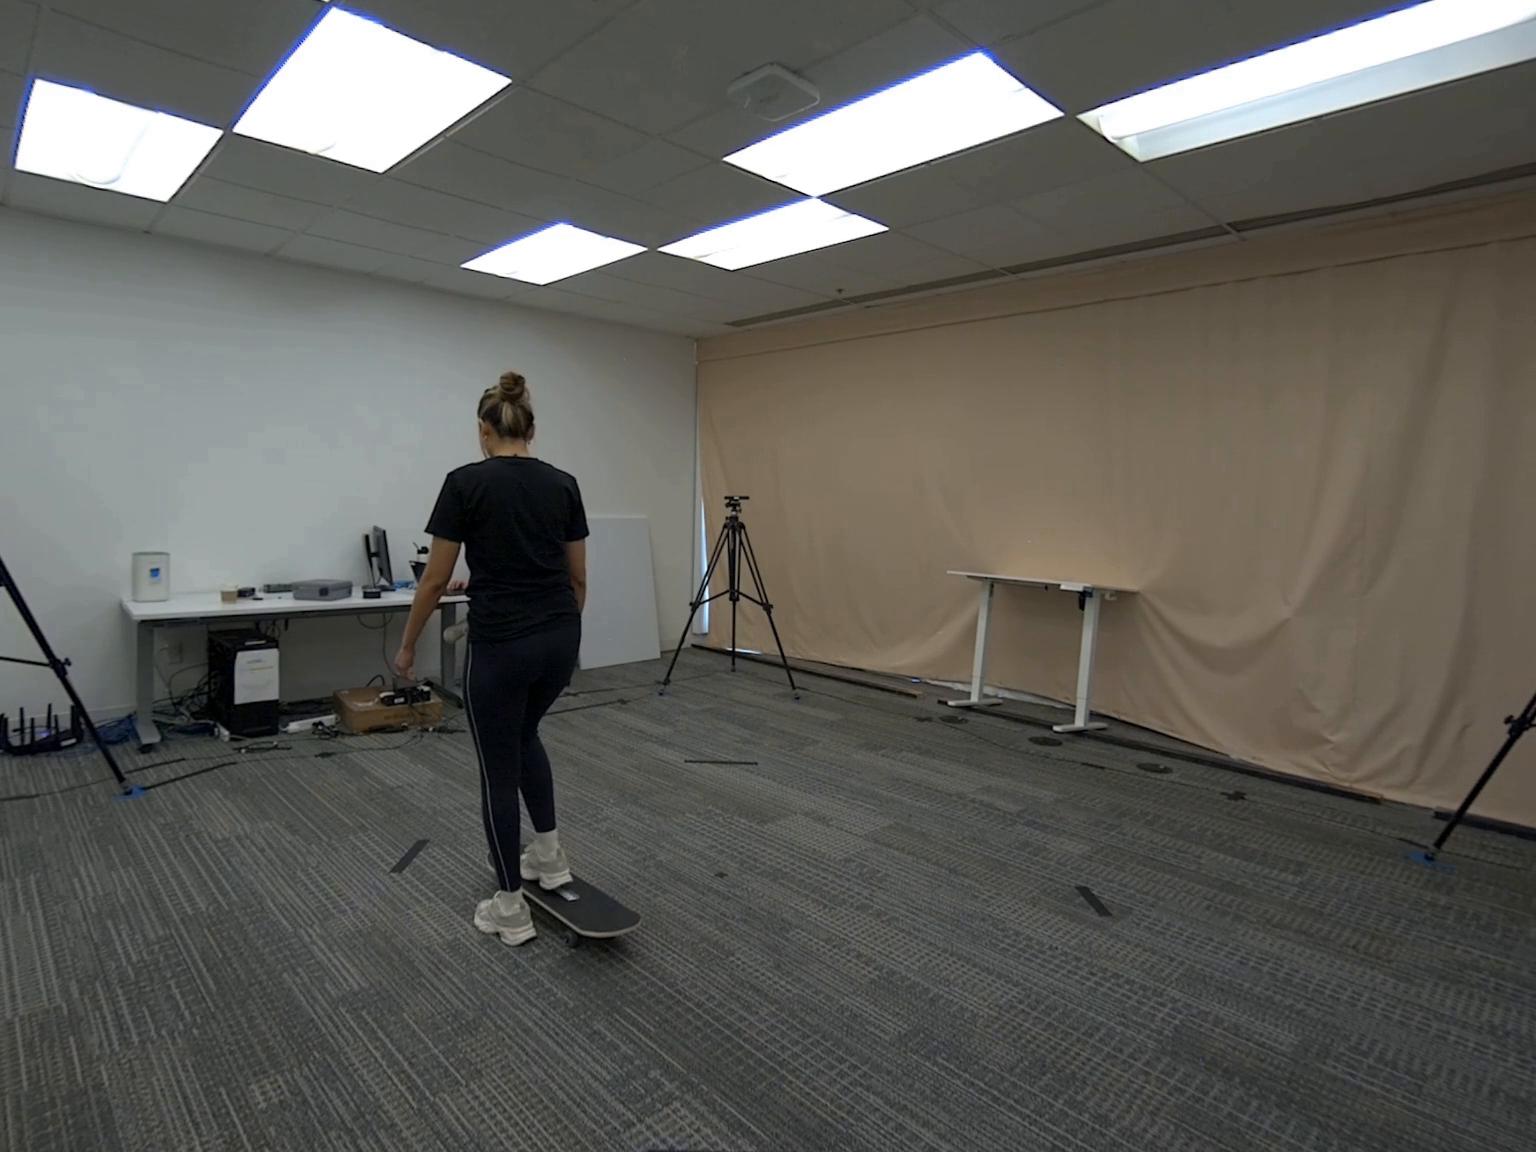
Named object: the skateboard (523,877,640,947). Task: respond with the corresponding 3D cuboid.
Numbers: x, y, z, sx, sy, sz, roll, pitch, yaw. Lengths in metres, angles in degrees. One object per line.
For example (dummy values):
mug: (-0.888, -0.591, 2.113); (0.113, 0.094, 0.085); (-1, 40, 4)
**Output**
skateboard: (-0.705, 1.071, 2.788); (0.189, 0.110, 0.806); (-3, 7, -44)
